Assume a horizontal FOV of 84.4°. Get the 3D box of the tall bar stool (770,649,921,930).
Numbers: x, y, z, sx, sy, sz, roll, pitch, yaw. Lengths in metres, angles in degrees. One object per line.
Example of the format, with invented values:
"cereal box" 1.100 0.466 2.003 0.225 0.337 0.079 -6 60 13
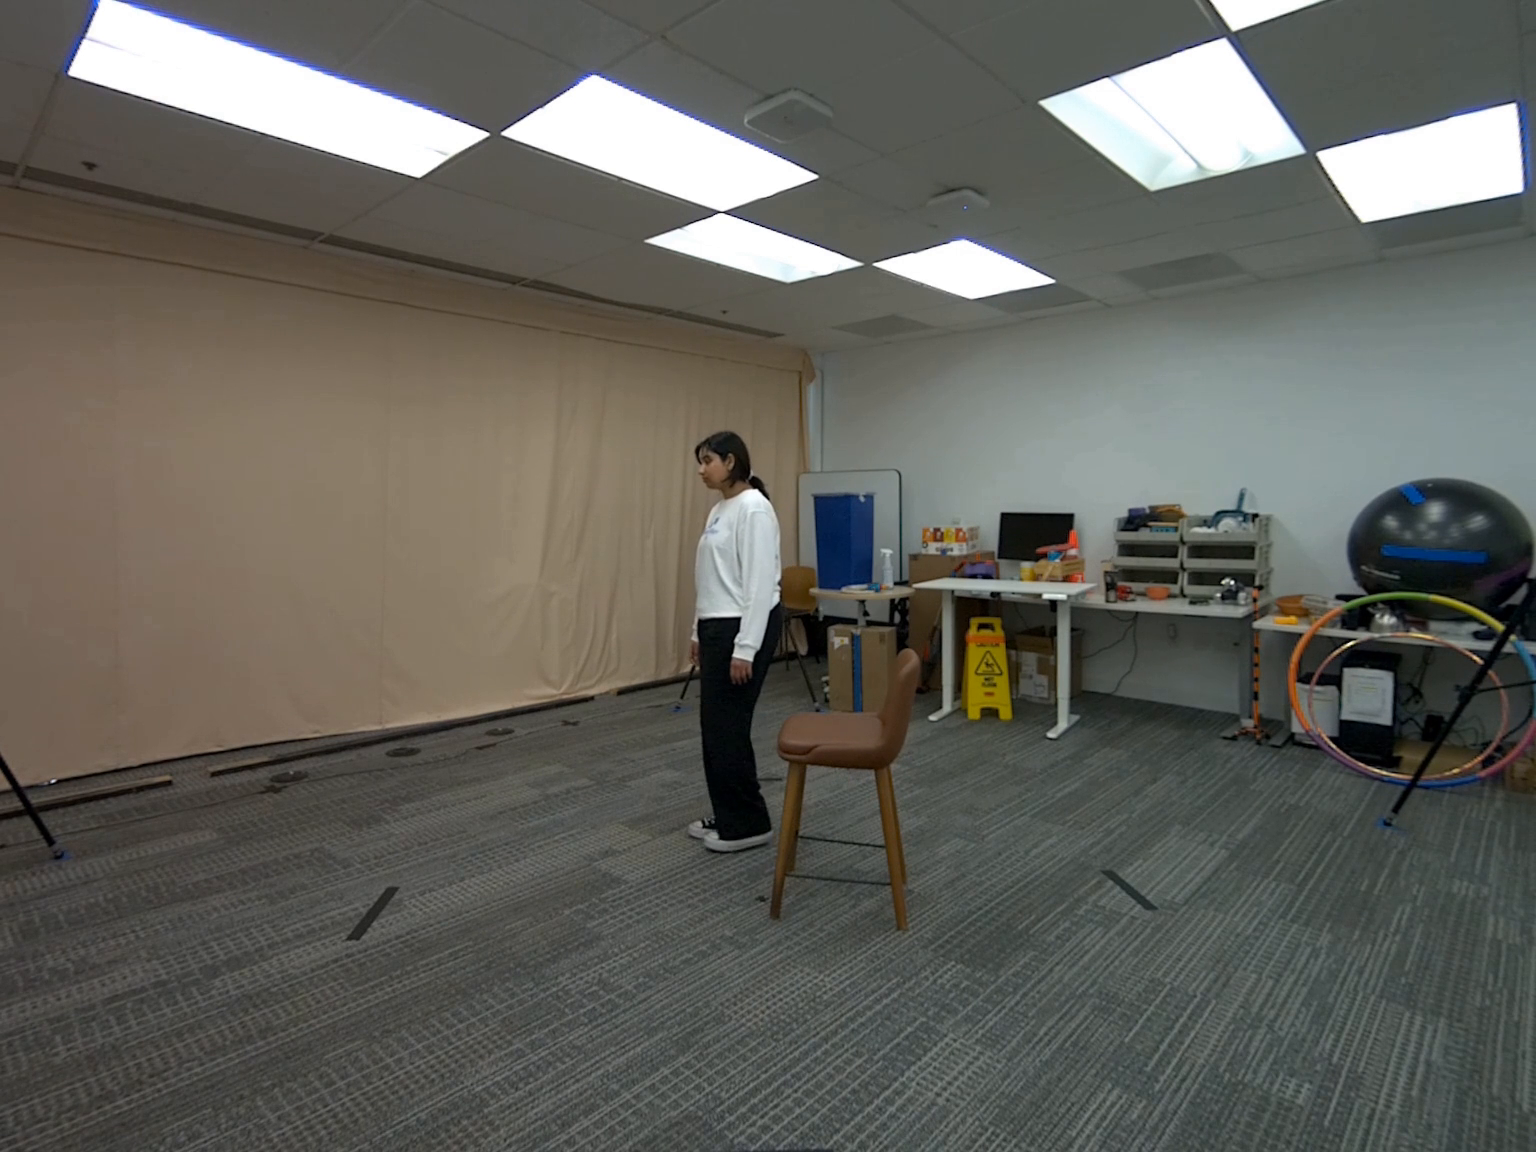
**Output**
"tall bar stool" 0.278 0.710 2.961 0.474 0.888 0.451 2 4 12
